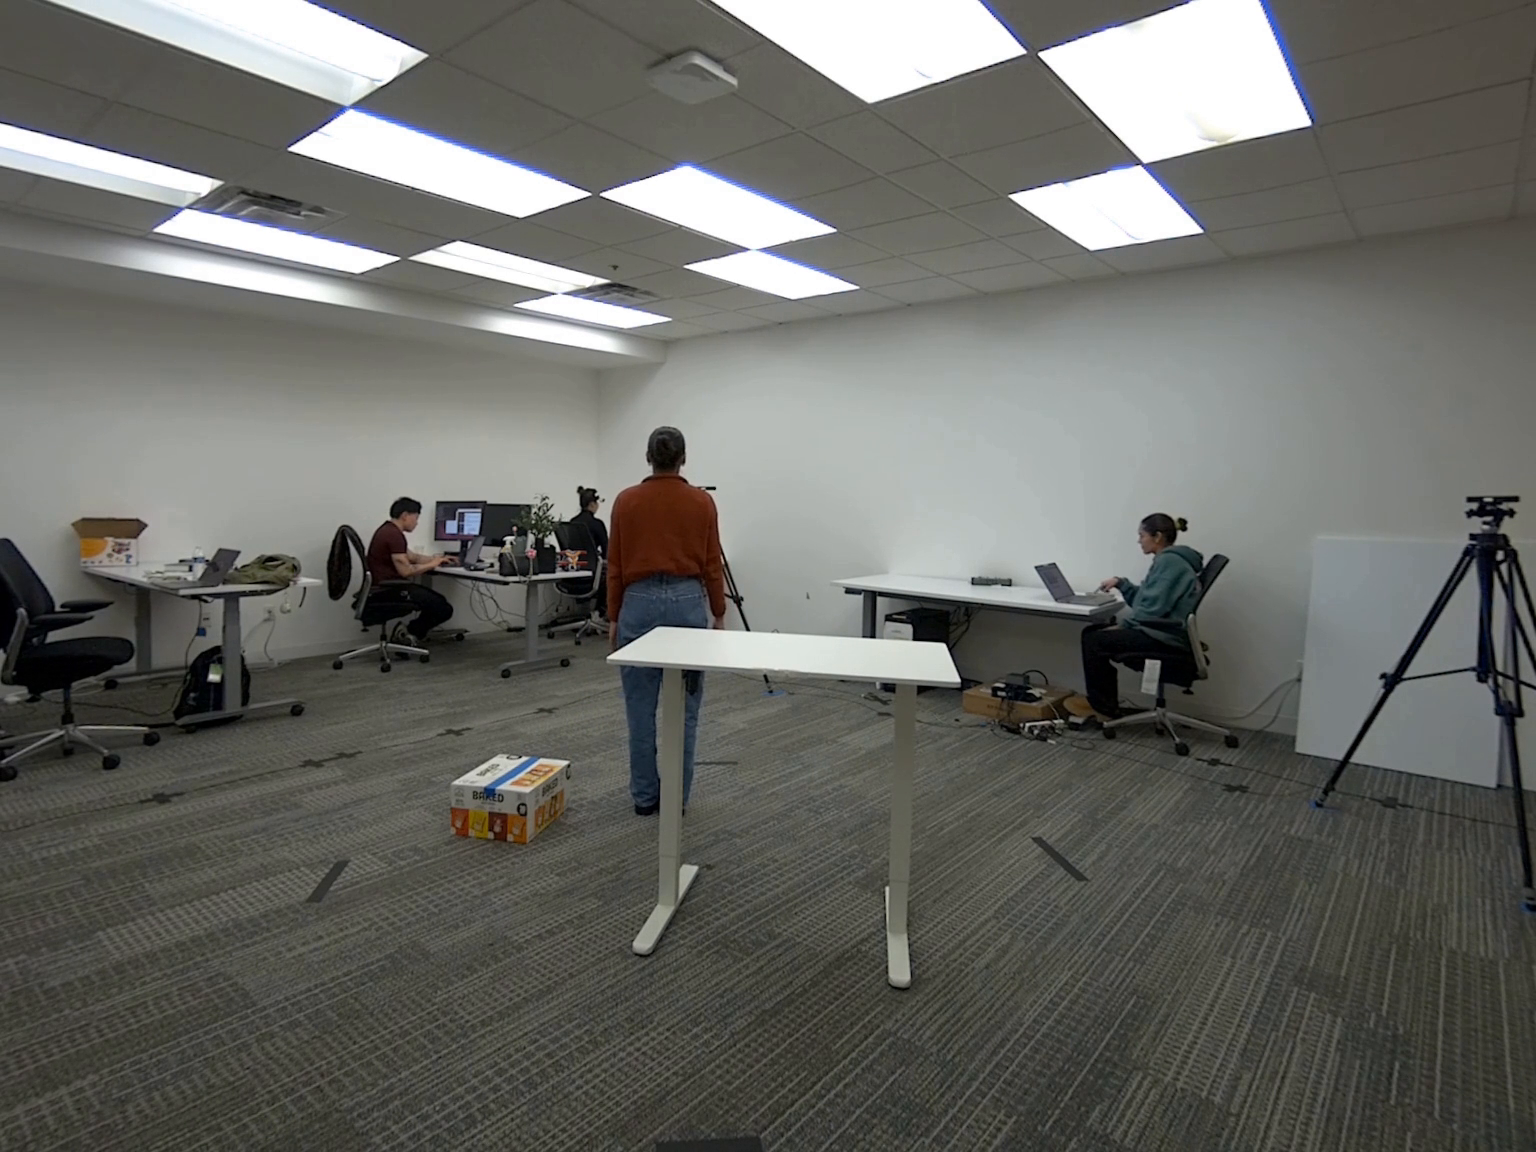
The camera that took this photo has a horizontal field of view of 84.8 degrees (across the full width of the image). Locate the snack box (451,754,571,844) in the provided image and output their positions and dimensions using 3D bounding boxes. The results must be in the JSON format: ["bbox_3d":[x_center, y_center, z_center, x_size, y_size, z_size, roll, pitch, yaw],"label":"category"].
[{"bbox_3d":[-1.074,0.910,3.519,0.345,0.205,0.401,2,5,12],"label":"snack box"}]
